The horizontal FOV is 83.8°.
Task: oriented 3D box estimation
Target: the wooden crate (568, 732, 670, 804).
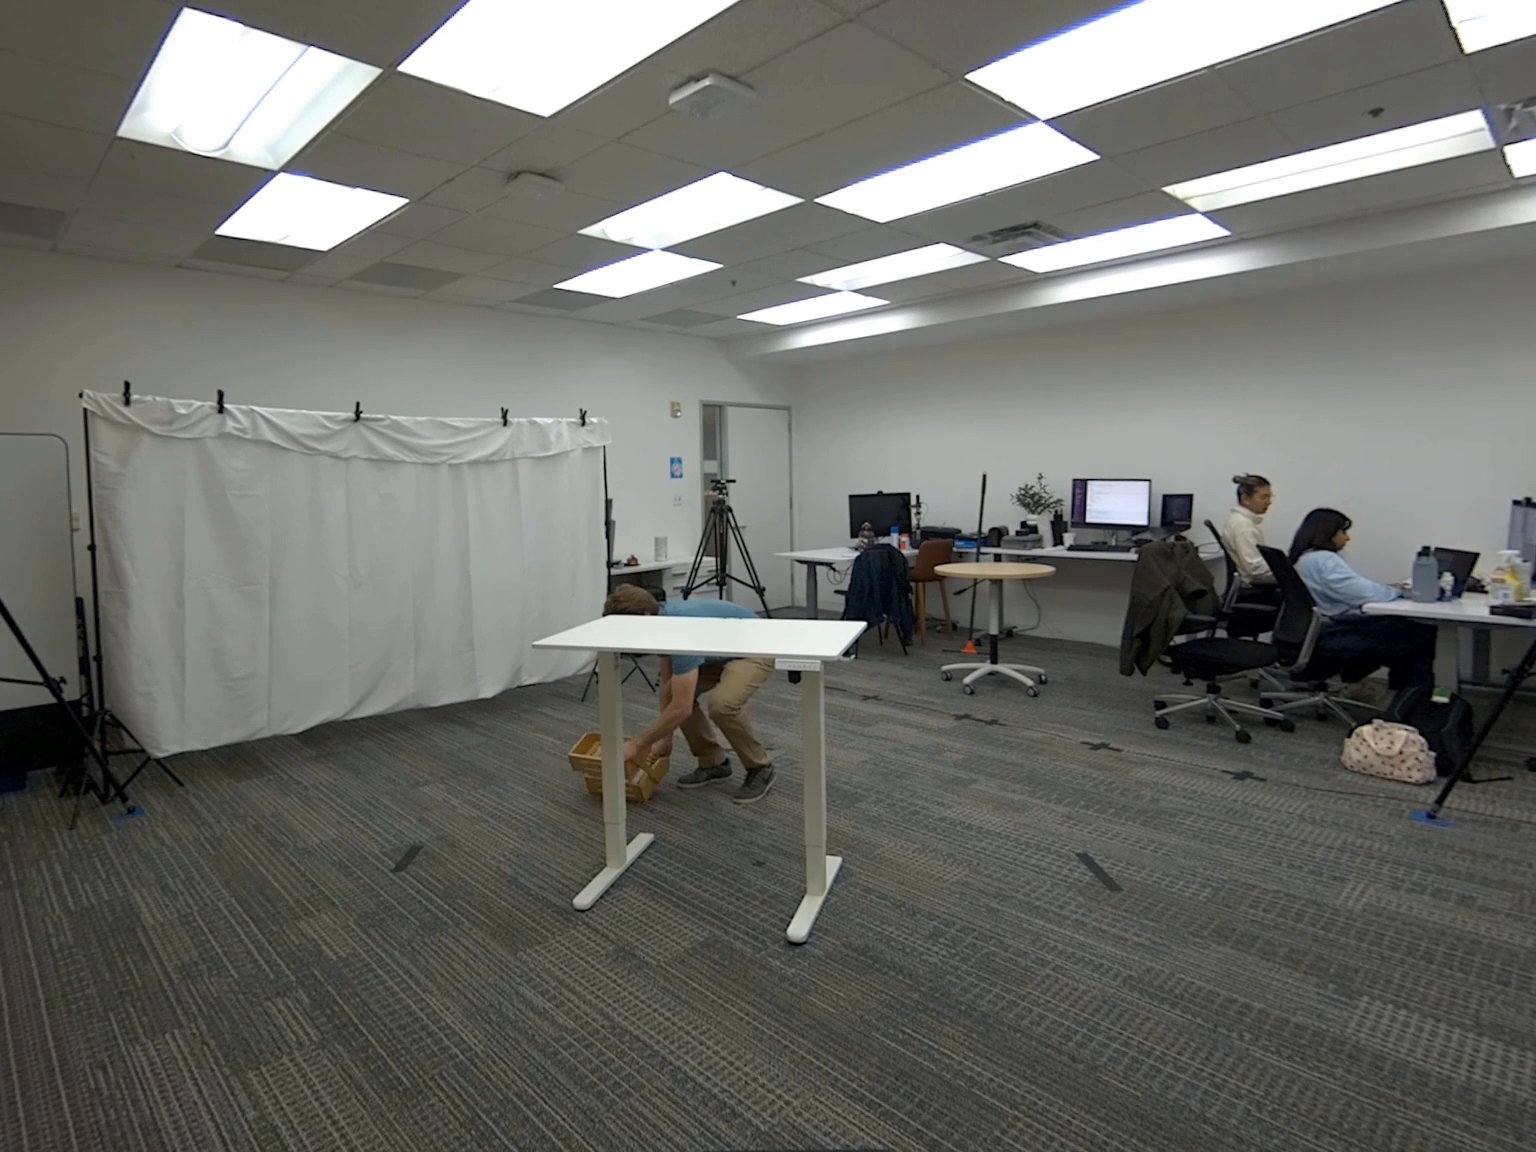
[{"bbox_3d":[-0.662,0.826,3.812,0.332,0.266,0.303,0,28,24],"label":"wooden crate"}]
